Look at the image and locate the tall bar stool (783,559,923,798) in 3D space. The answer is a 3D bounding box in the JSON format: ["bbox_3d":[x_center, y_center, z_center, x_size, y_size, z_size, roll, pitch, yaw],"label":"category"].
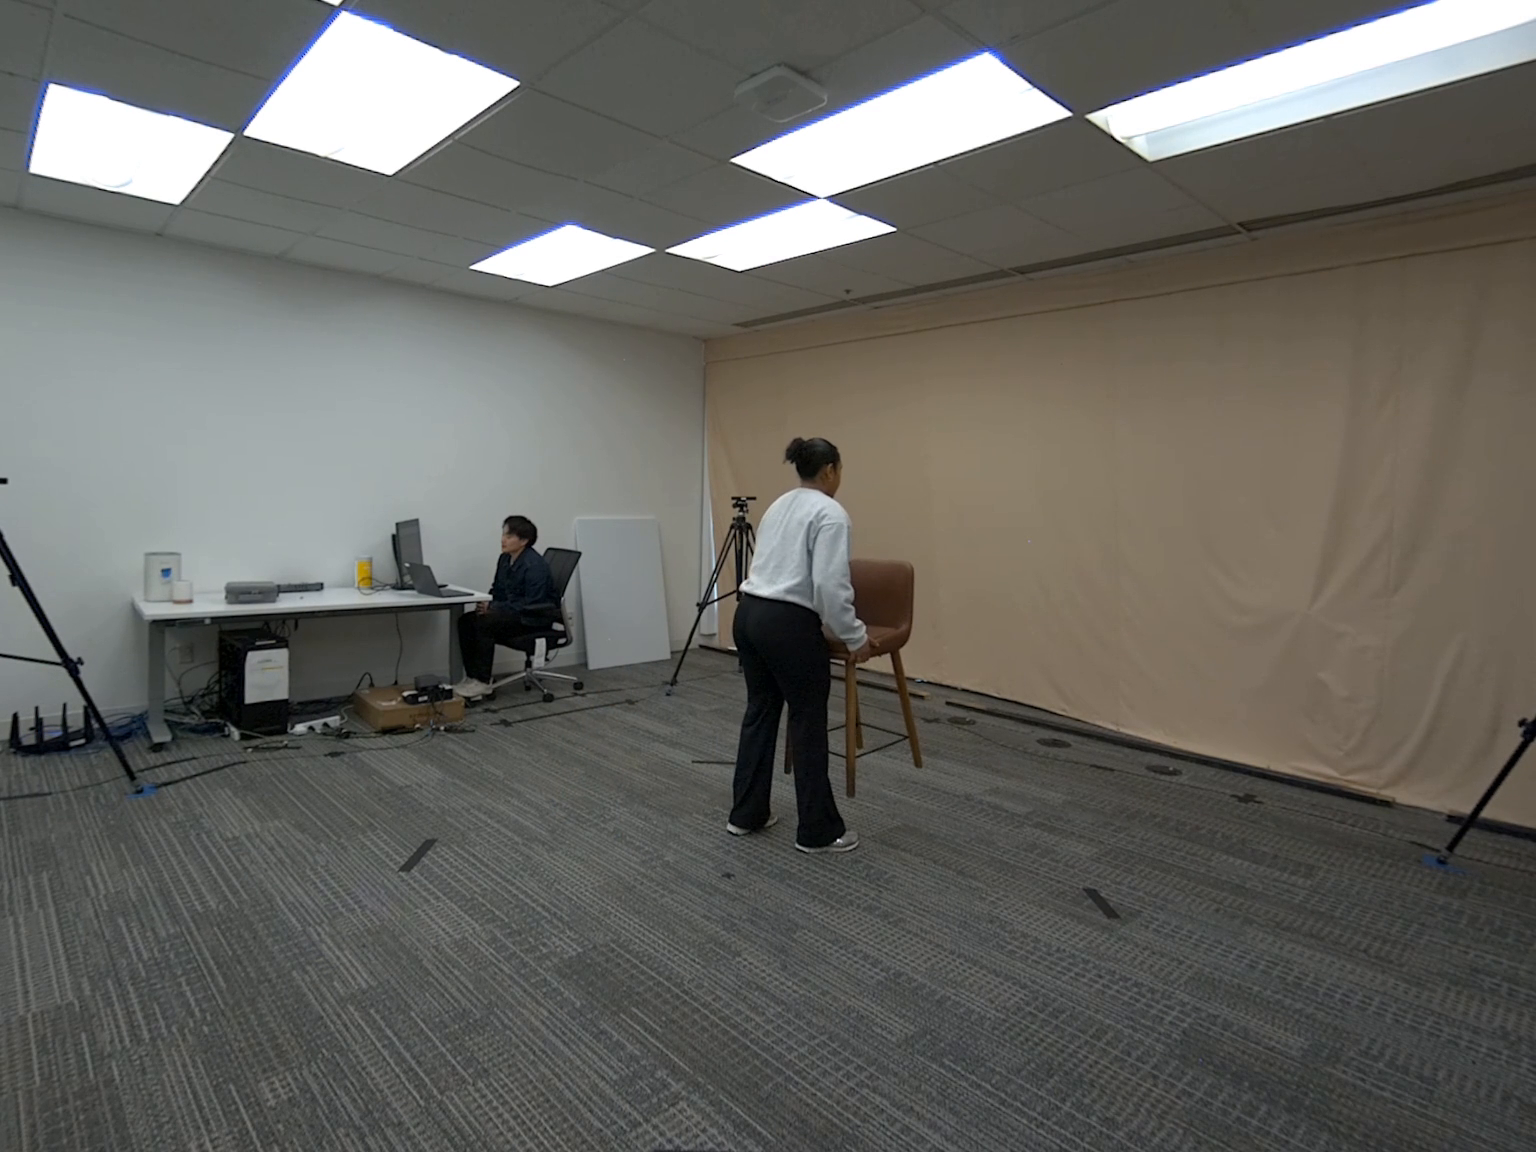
[{"bbox_3d":[0.339,0.400,3.542,0.458,0.886,0.467,-7,6,-39],"label":"tall bar stool"}]
